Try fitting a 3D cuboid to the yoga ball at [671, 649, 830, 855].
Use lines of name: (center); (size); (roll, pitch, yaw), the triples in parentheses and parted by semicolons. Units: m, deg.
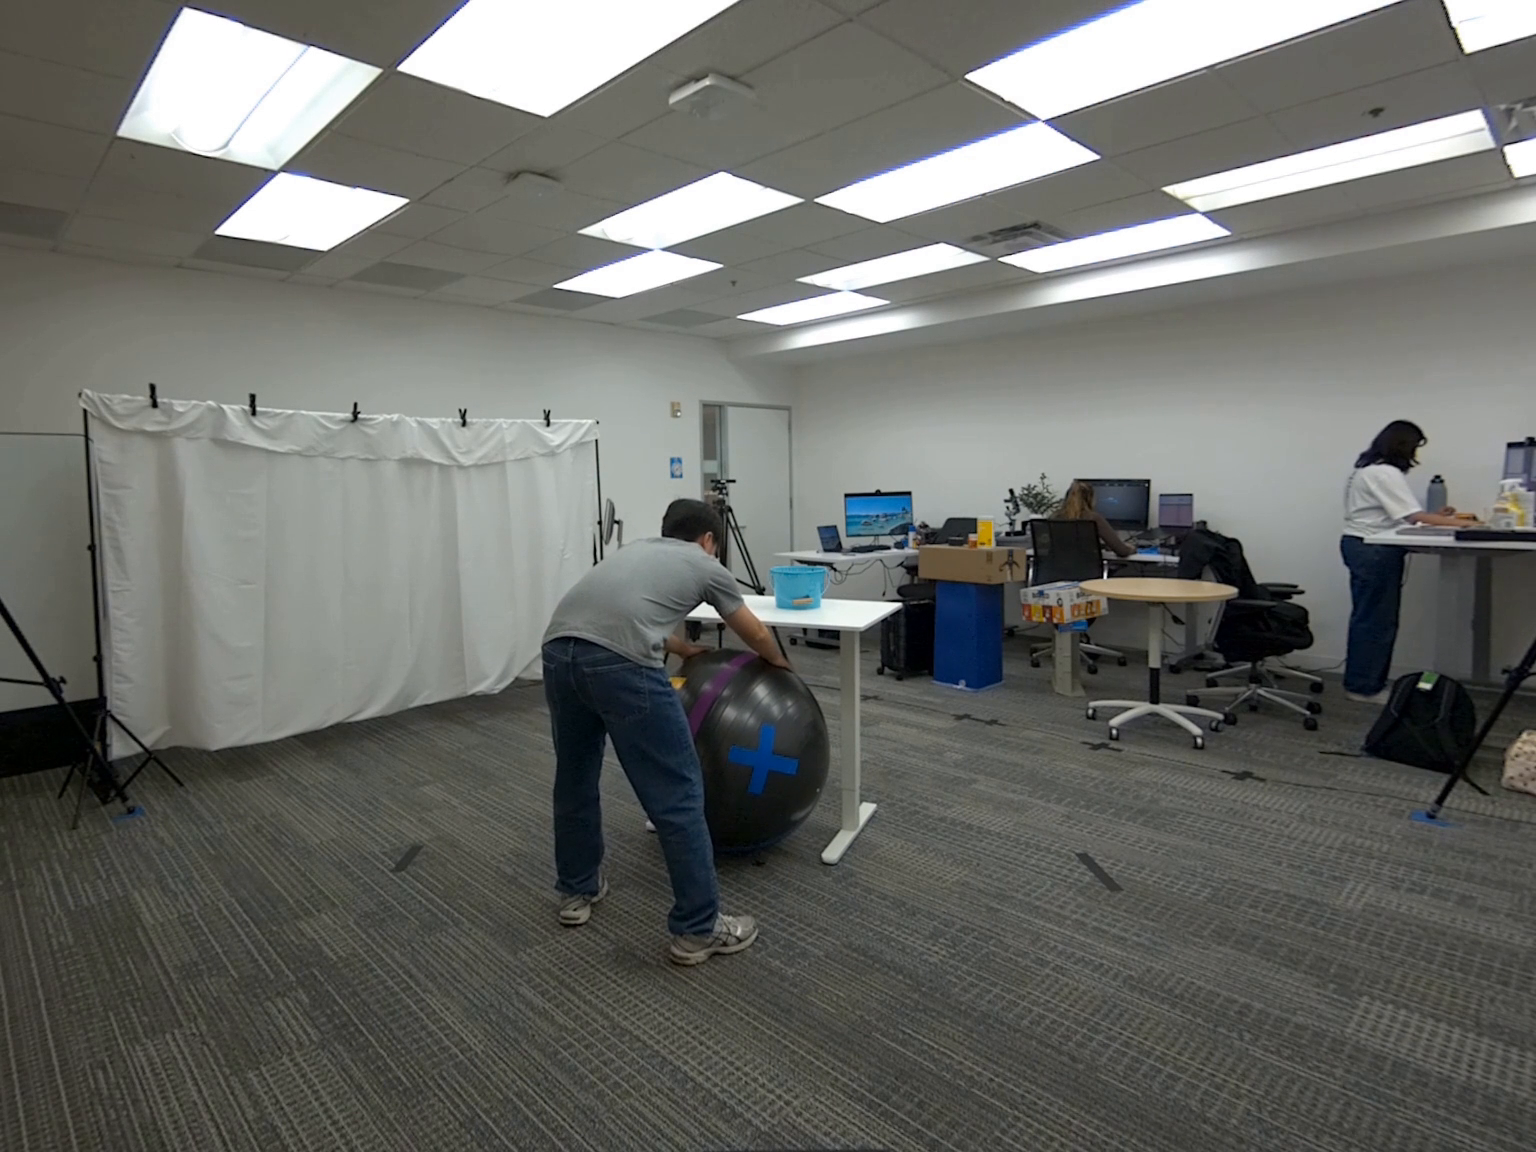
yoga ball: (-0.149, 0.665, 3.264); (0.757, 0.755, 0.762); (-1, 5, -2)
